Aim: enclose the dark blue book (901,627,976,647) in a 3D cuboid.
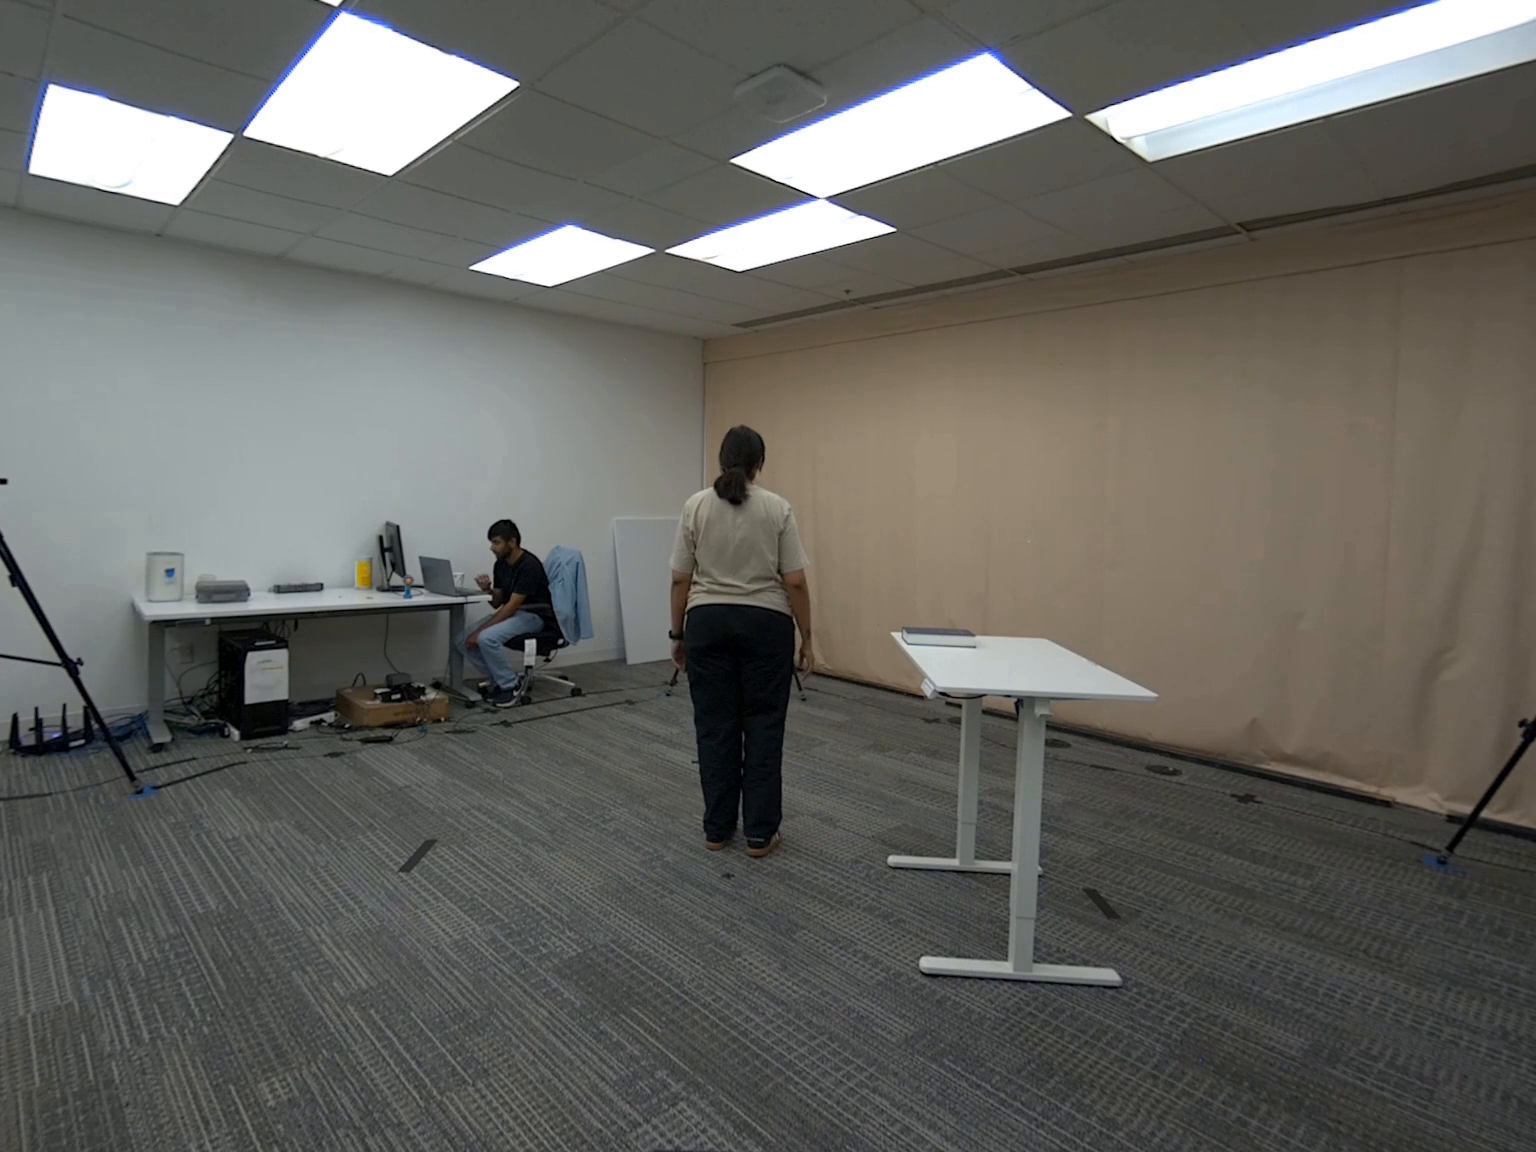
[{"bbox_3d":[0.640,0.225,3.101,0.246,0.045,0.163,2,5,4],"label":"dark blue book"}]
